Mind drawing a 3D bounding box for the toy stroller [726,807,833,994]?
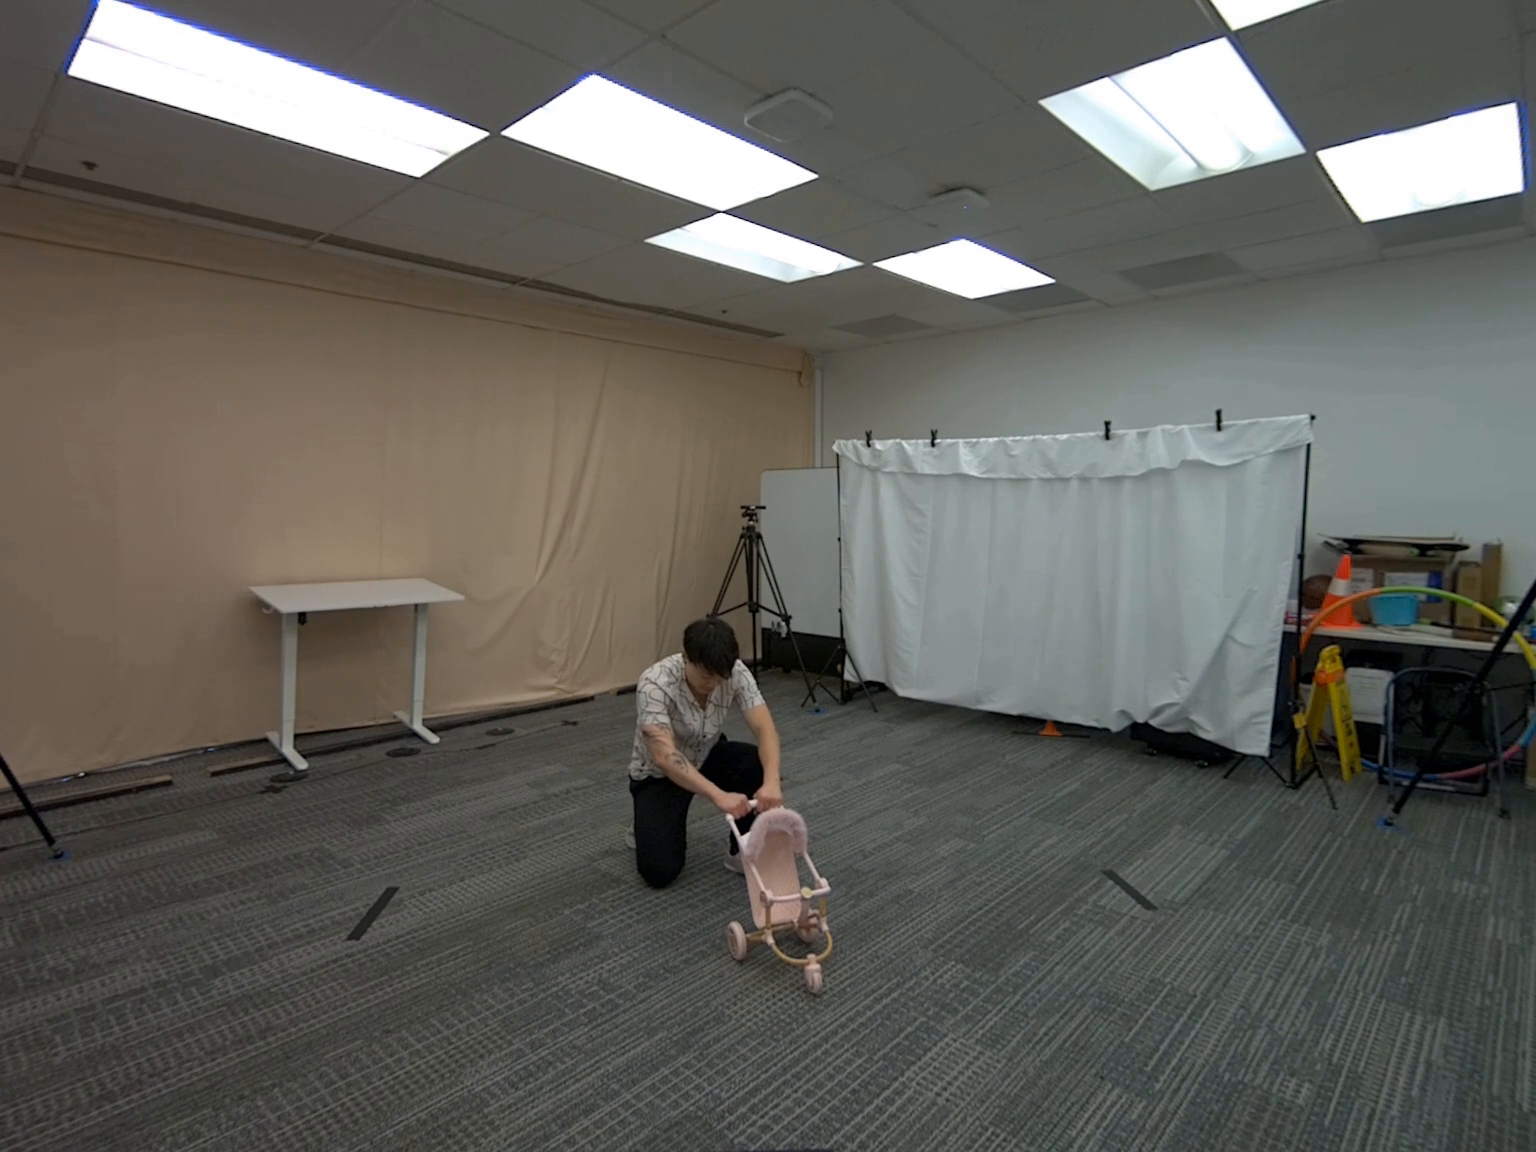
[{"bbox_3d":[0.047,0.956,2.576,0.275,0.540,0.345,-2,-14,-23],"label":"toy stroller"}]
